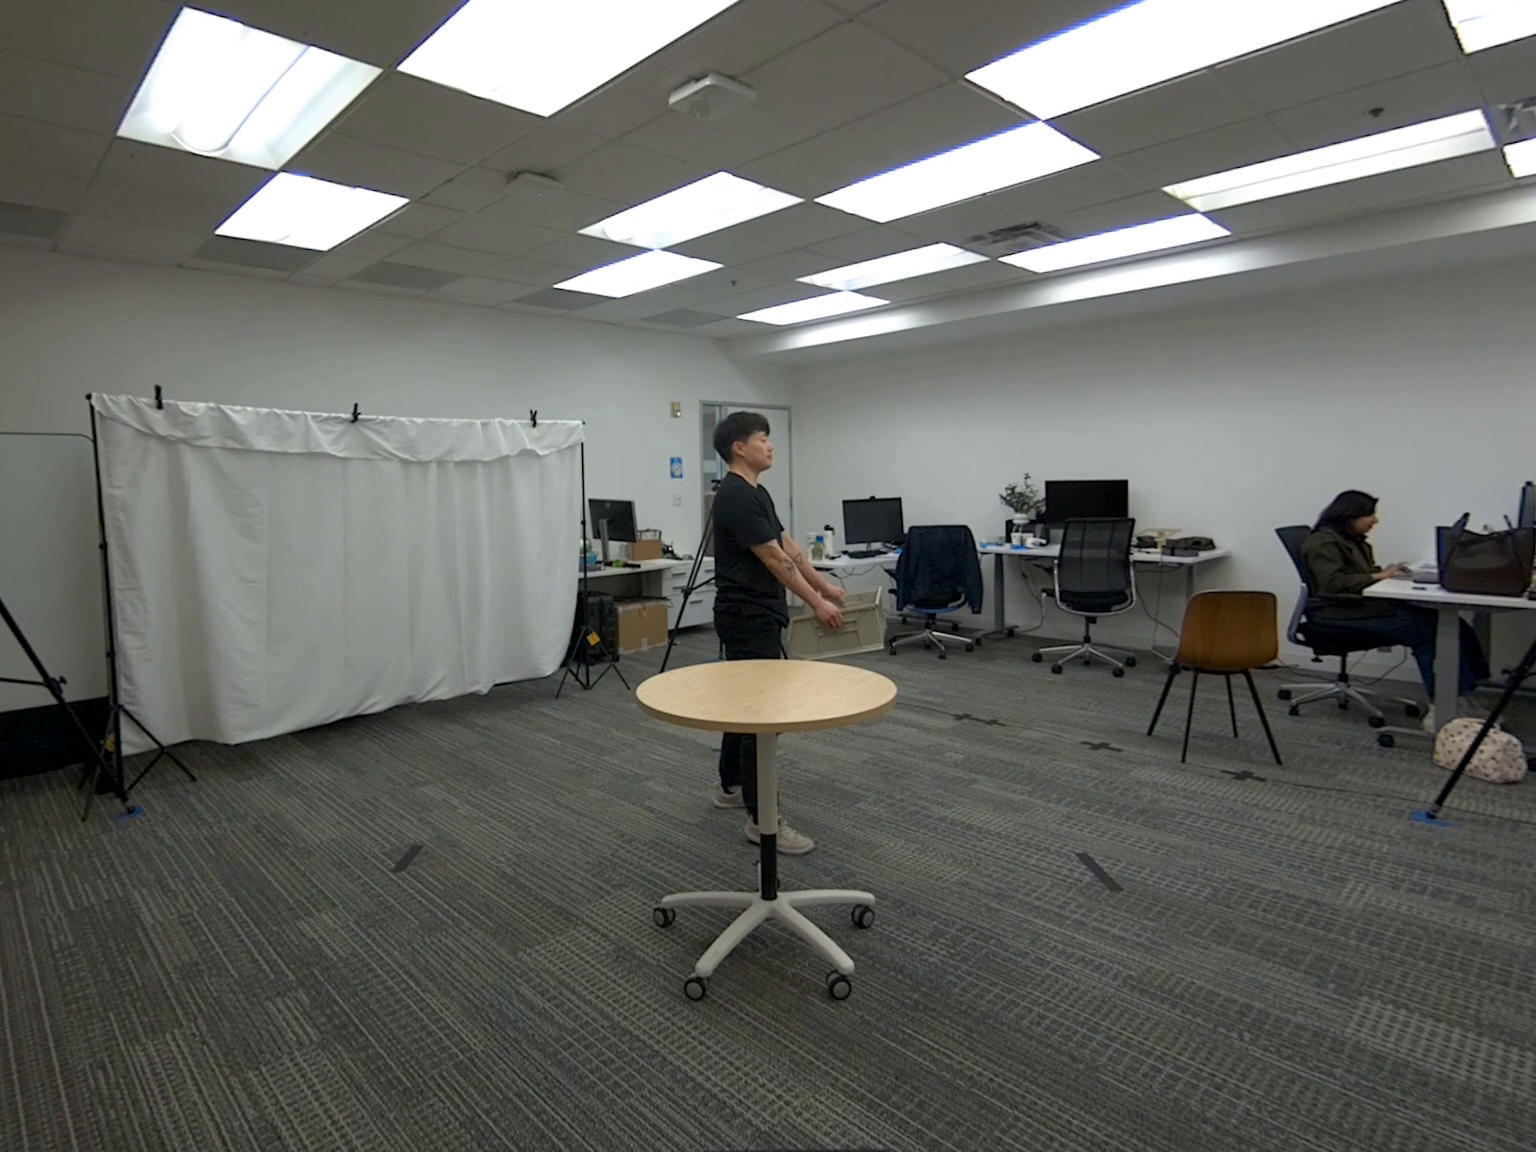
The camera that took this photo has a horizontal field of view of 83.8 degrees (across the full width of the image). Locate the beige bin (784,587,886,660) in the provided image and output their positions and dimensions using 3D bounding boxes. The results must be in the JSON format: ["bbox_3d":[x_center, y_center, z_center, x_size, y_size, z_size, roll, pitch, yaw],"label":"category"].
[{"bbox_3d":[0.274,0.202,3.506,0.381,0.188,0.419,-7,3,10],"label":"beige bin"}]
